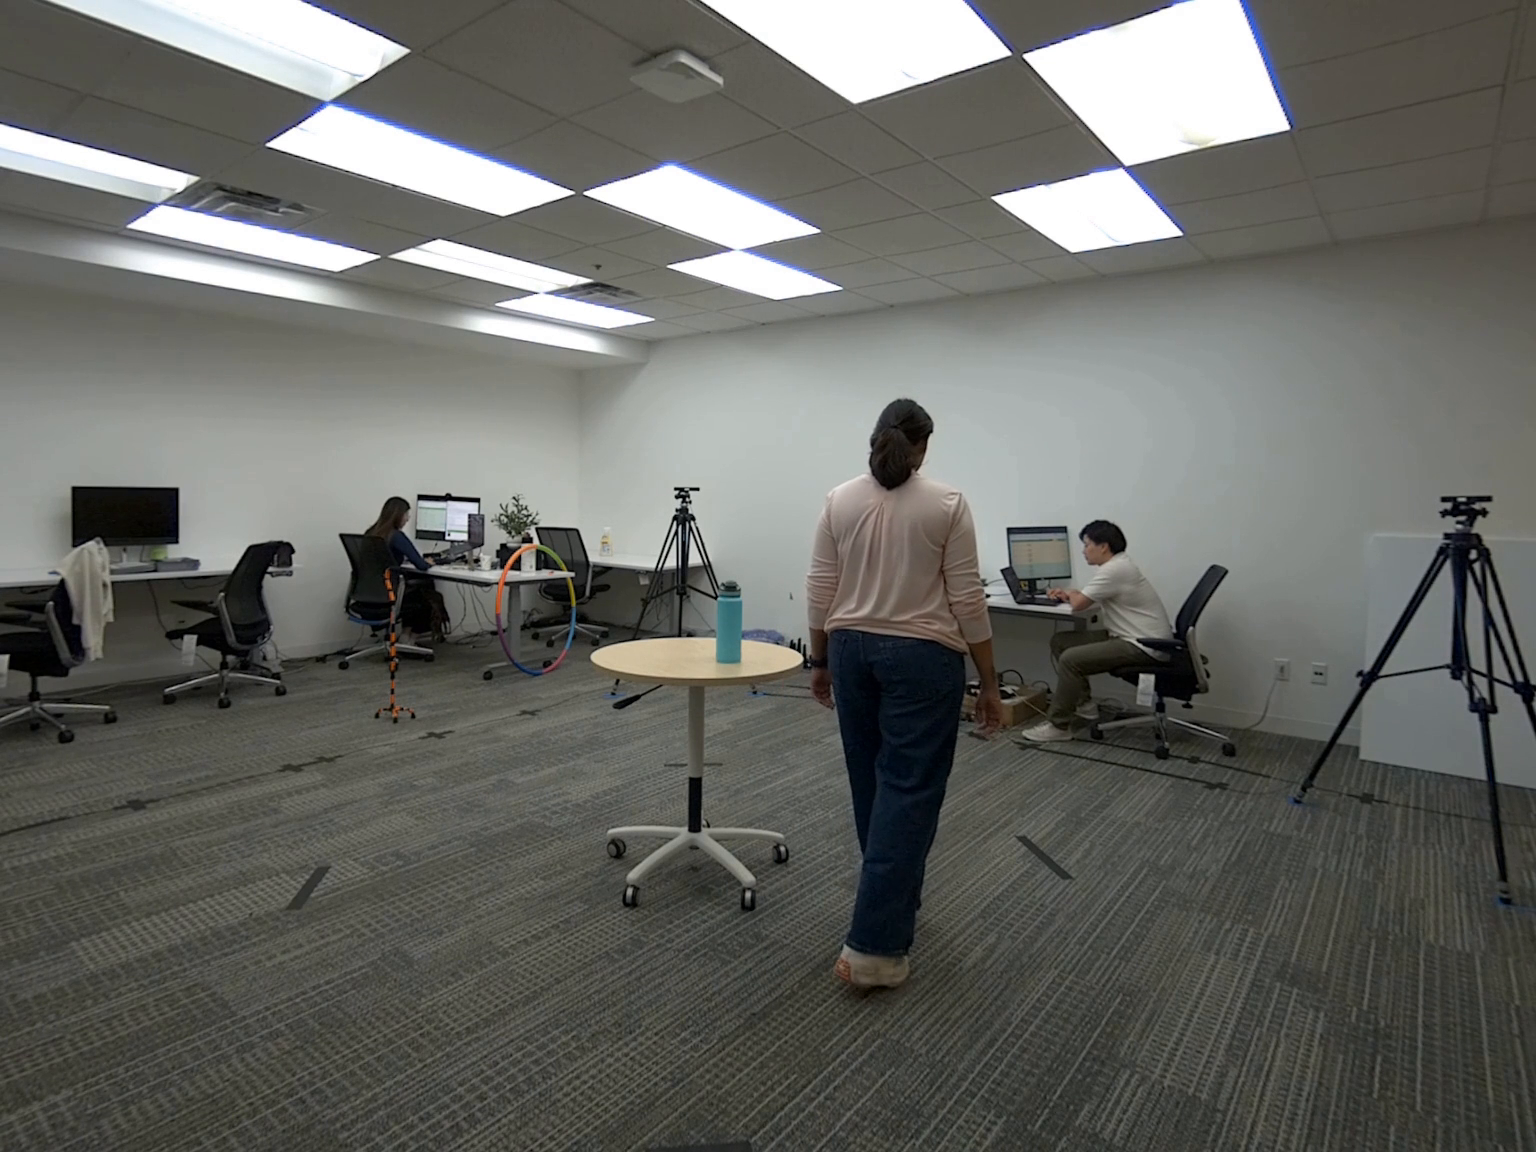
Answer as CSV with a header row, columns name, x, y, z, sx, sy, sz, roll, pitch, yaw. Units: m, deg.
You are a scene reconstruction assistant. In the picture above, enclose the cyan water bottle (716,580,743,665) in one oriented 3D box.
name,x,y,z,sx,sy,sz,roll,pitch,yaw
cyan water bottle,-0.147,0.156,2.978,0.092,0.283,0.092,1,1,-2
